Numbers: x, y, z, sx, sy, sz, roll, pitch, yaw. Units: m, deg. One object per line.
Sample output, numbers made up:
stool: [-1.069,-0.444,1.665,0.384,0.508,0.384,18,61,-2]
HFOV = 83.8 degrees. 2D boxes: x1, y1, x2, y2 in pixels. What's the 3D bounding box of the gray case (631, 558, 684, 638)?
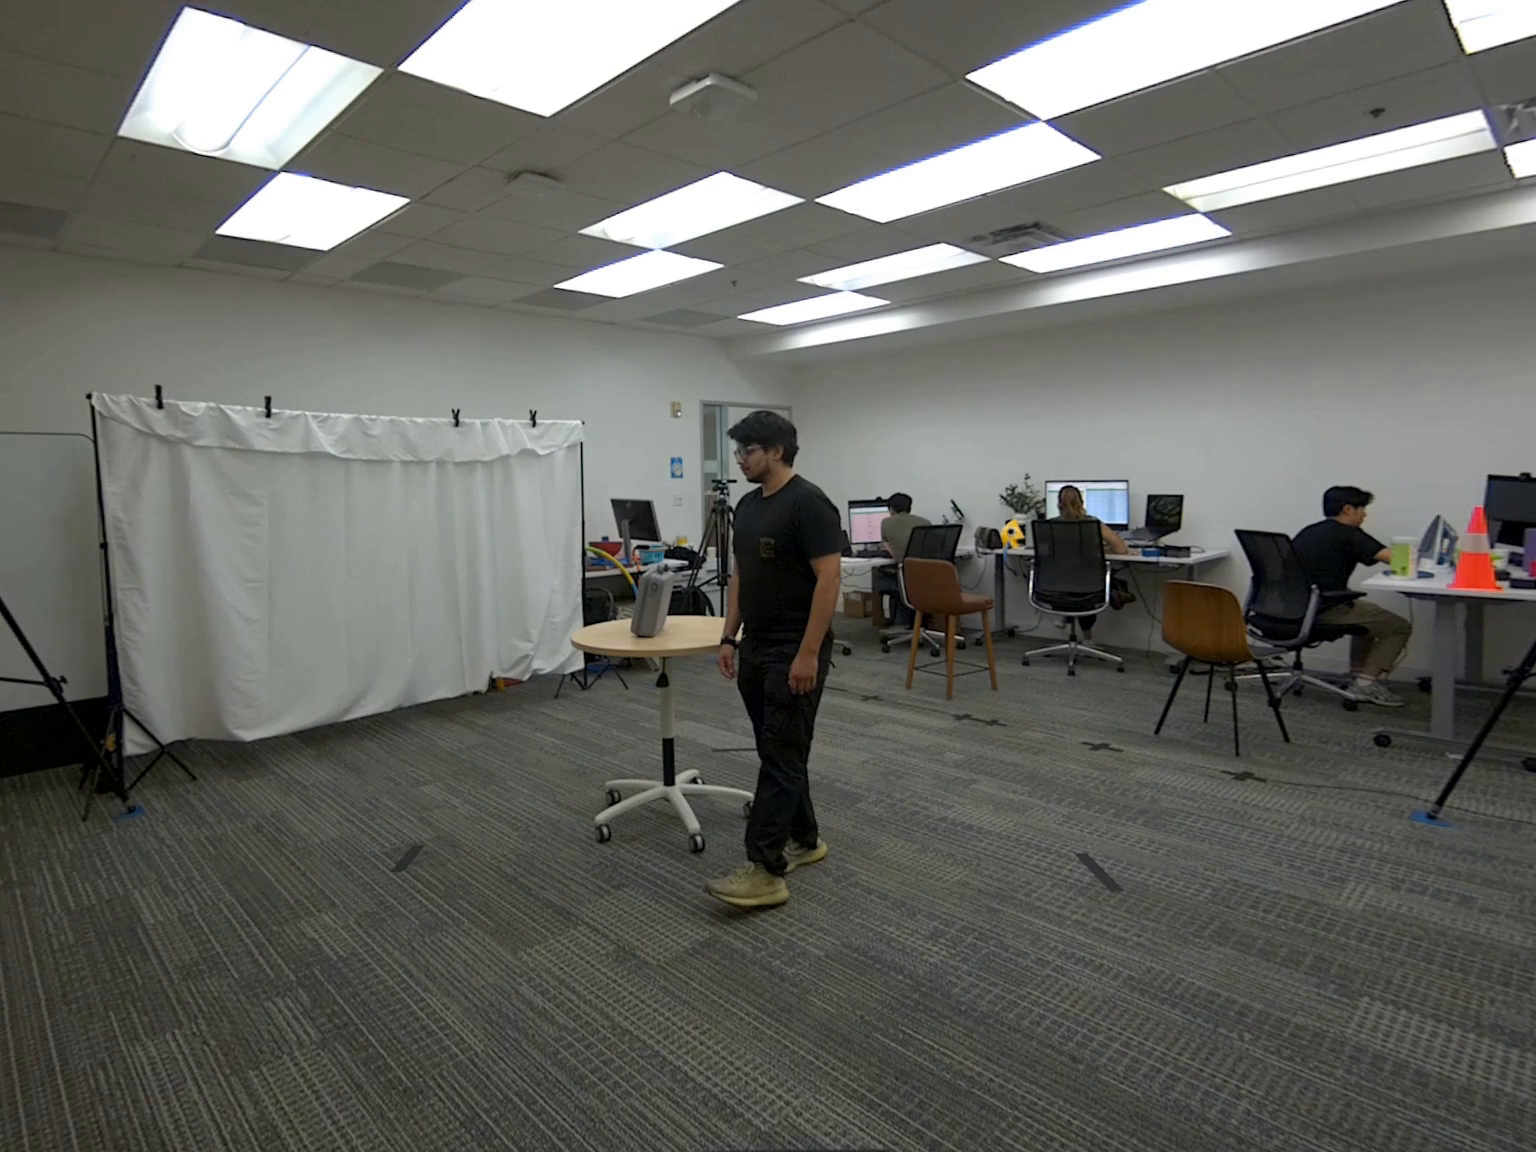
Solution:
gray case: [-0.466,0.104,3.477,0.105,0.259,0.257,10,7,2]
